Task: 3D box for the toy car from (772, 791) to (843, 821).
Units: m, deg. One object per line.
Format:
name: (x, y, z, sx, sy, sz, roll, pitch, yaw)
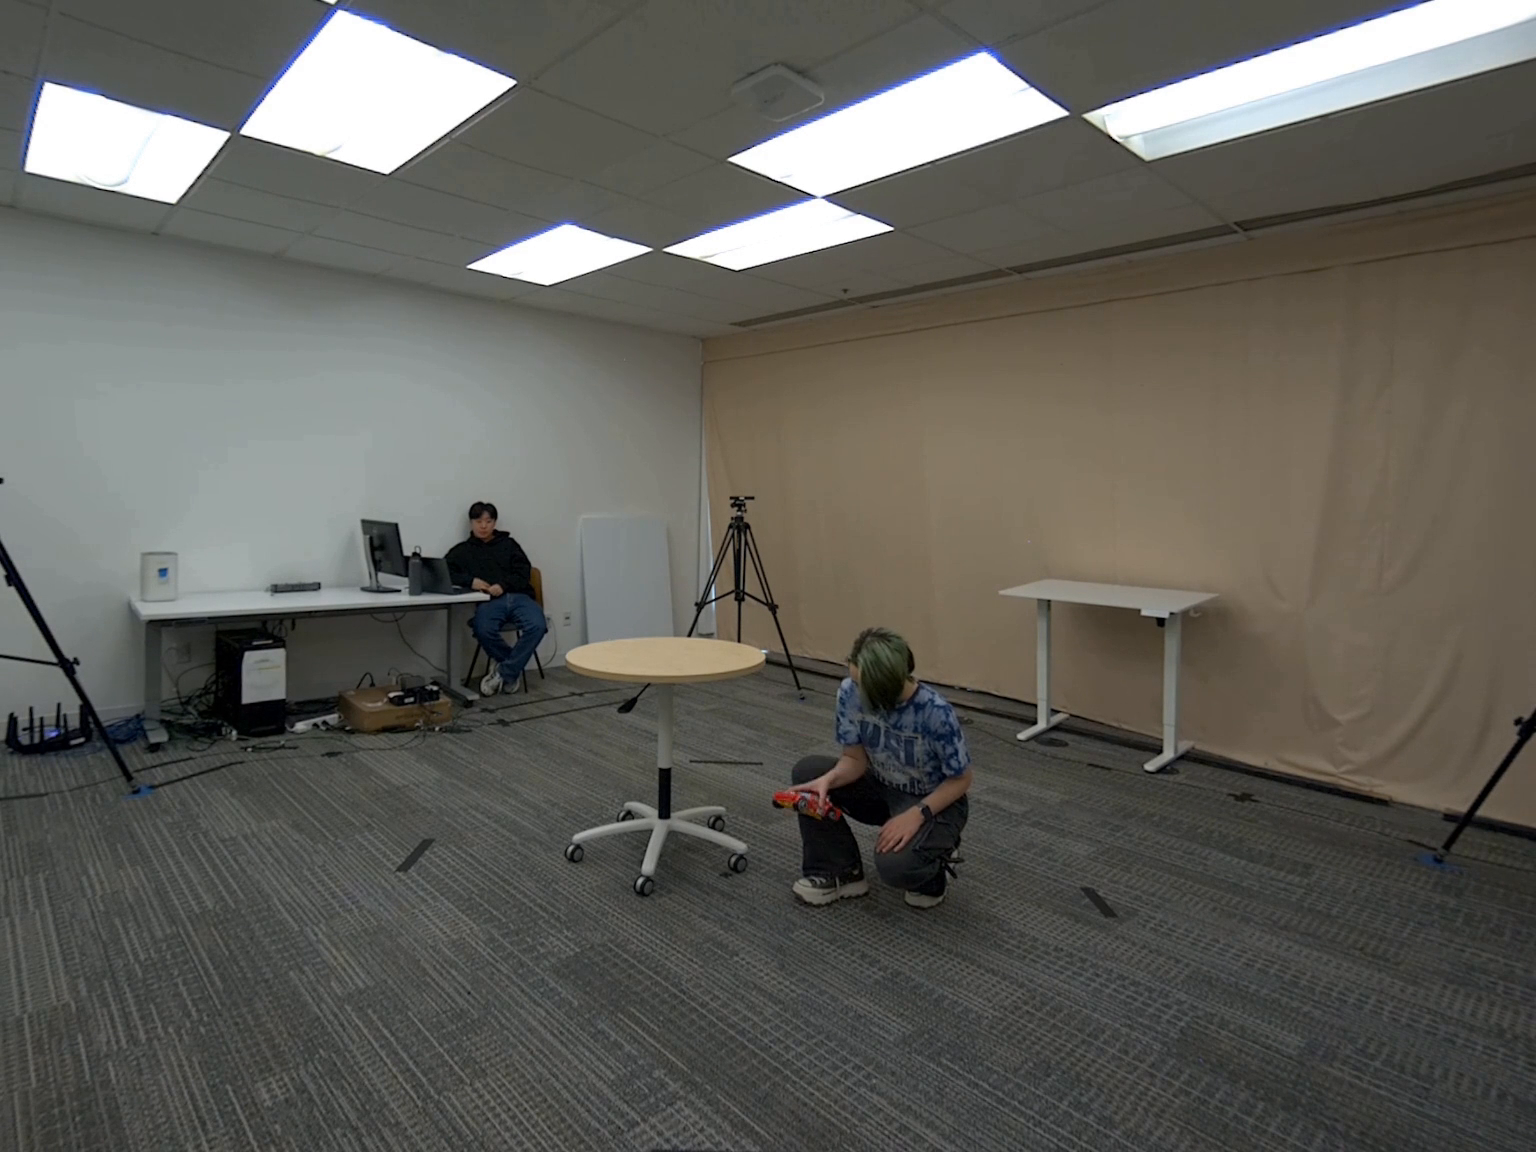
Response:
toy car: (0.130, 0.743, 2.685, 0.133, 0.084, 0.247, -6, -18, 44)
